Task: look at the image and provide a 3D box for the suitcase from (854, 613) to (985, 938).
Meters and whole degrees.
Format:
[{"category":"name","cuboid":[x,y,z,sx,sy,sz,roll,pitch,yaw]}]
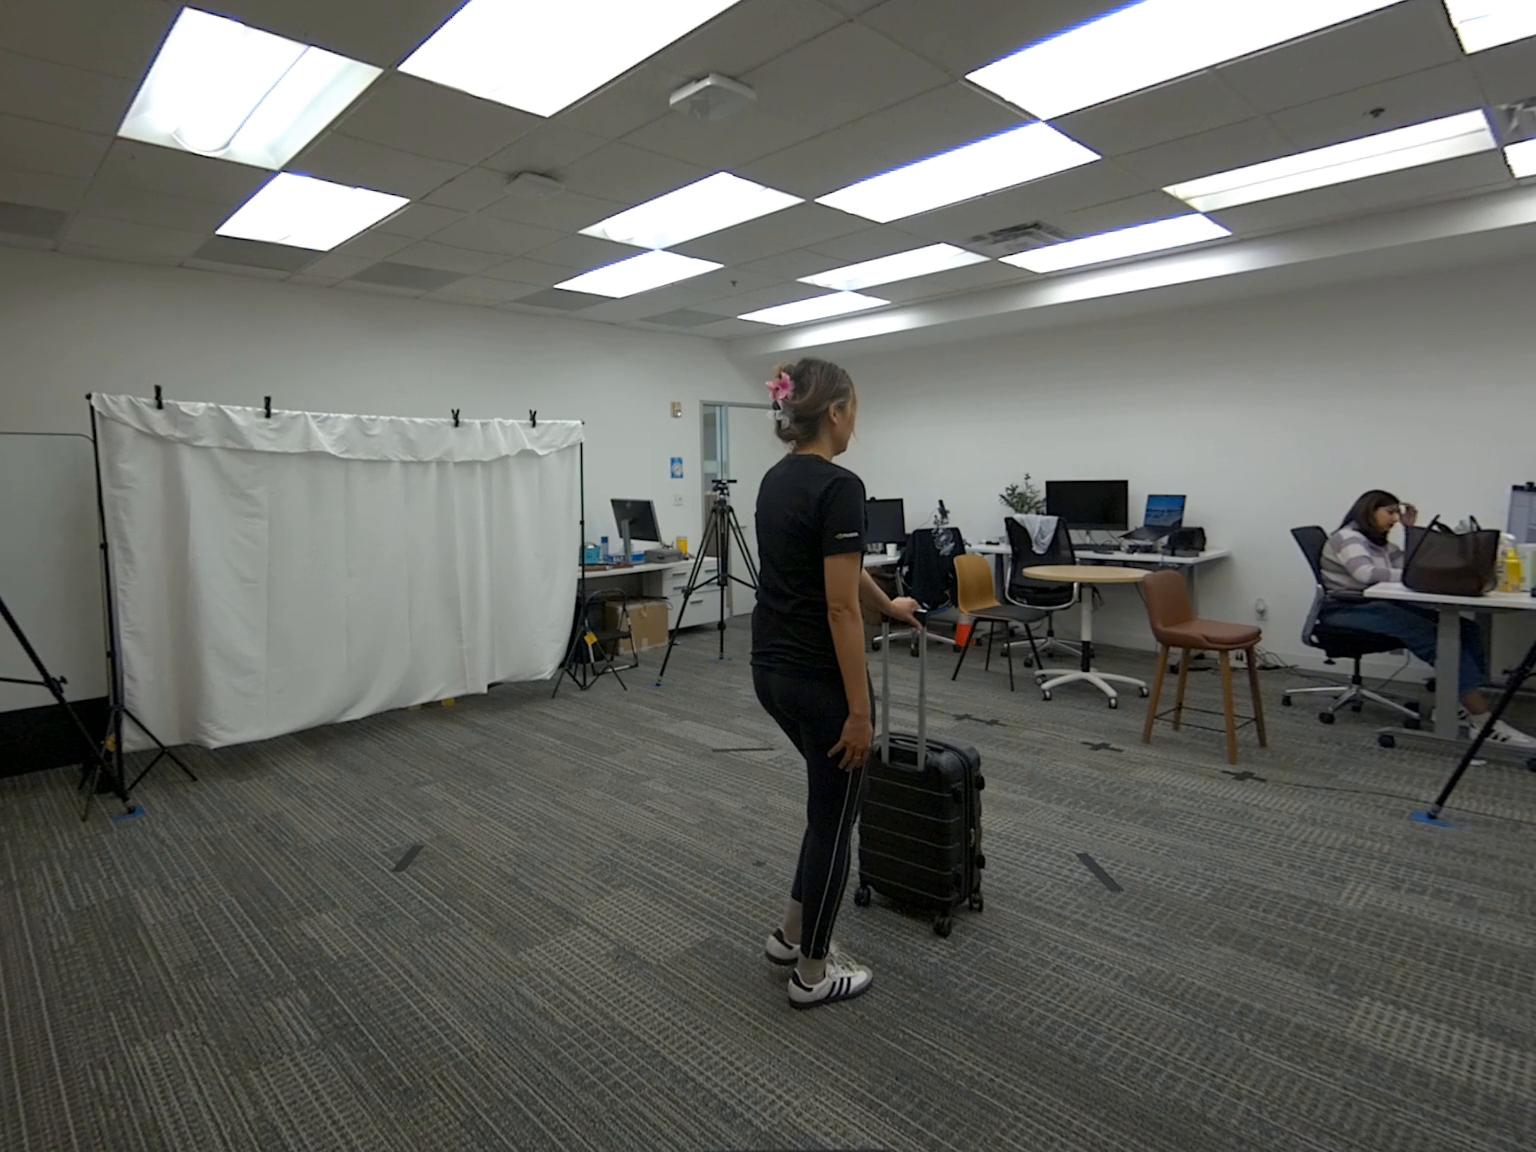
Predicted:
[{"category":"suitcase","cuboid":[0.505,0.598,2.790,0.395,0.979,0.249,1,0,42]}]
